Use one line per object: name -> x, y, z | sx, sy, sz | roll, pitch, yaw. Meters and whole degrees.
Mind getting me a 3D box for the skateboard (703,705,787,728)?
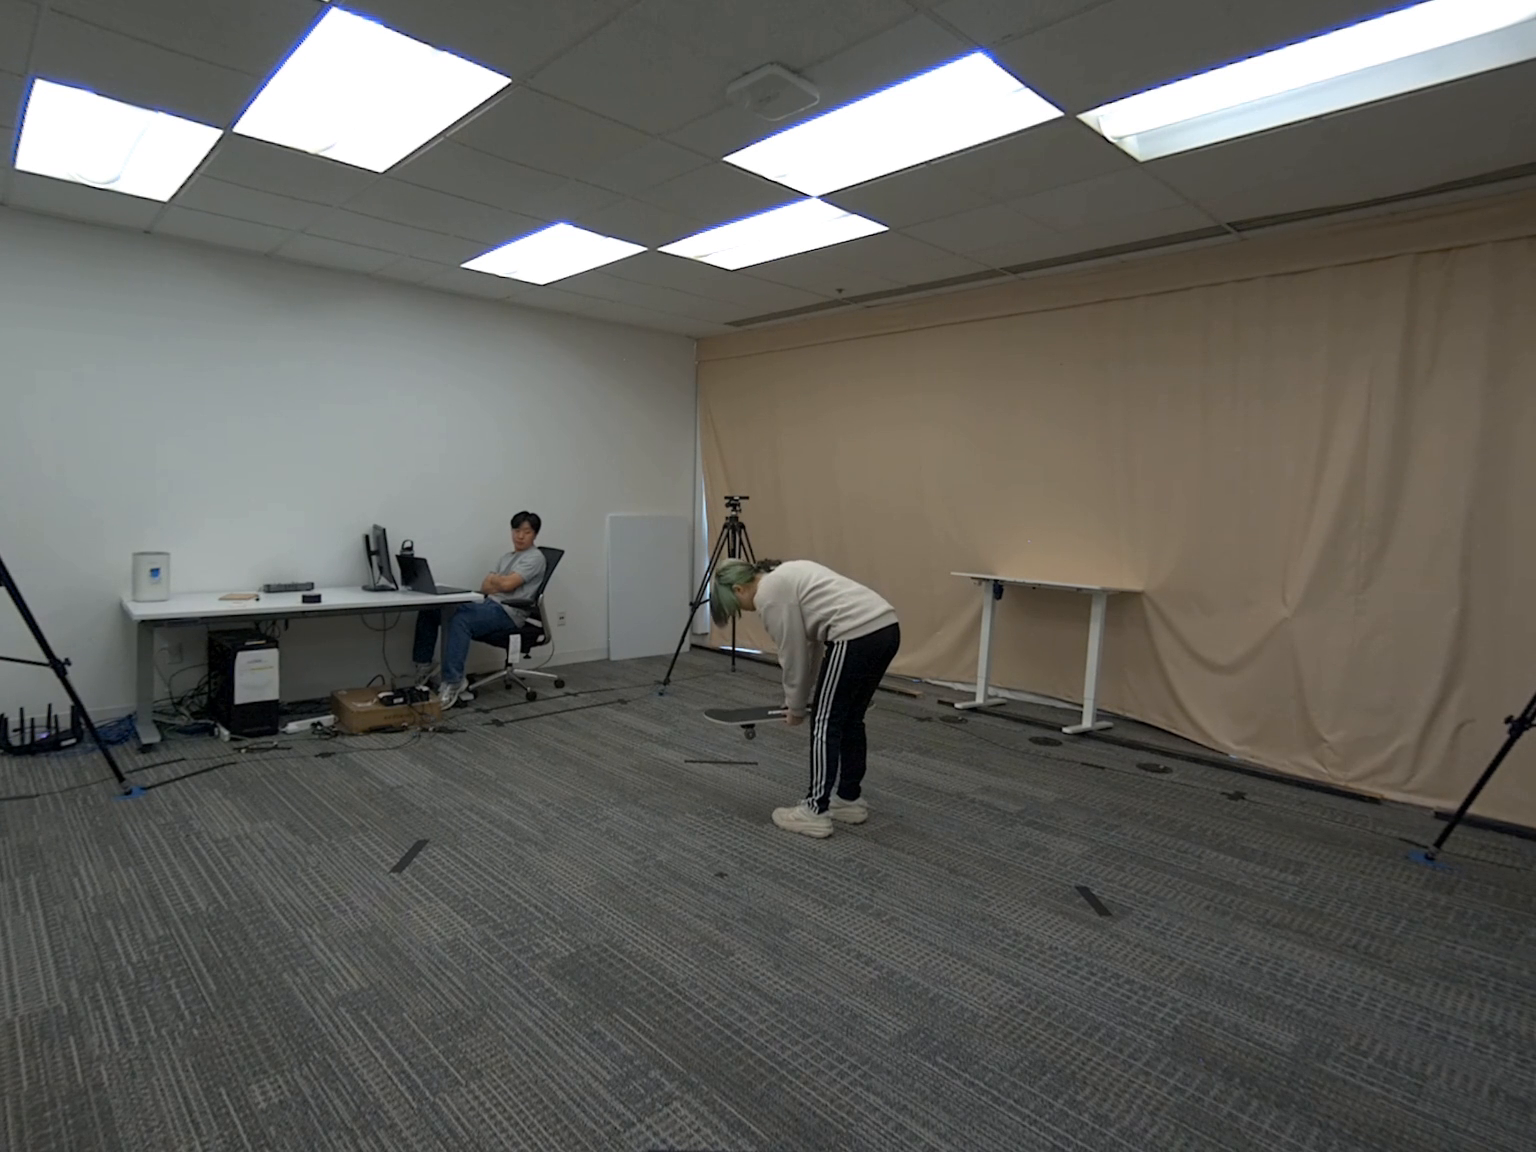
skateboard -> 0.081, 0.643, 3.831 | 0.781, 0.109, 0.196 | -3, 9, -7
